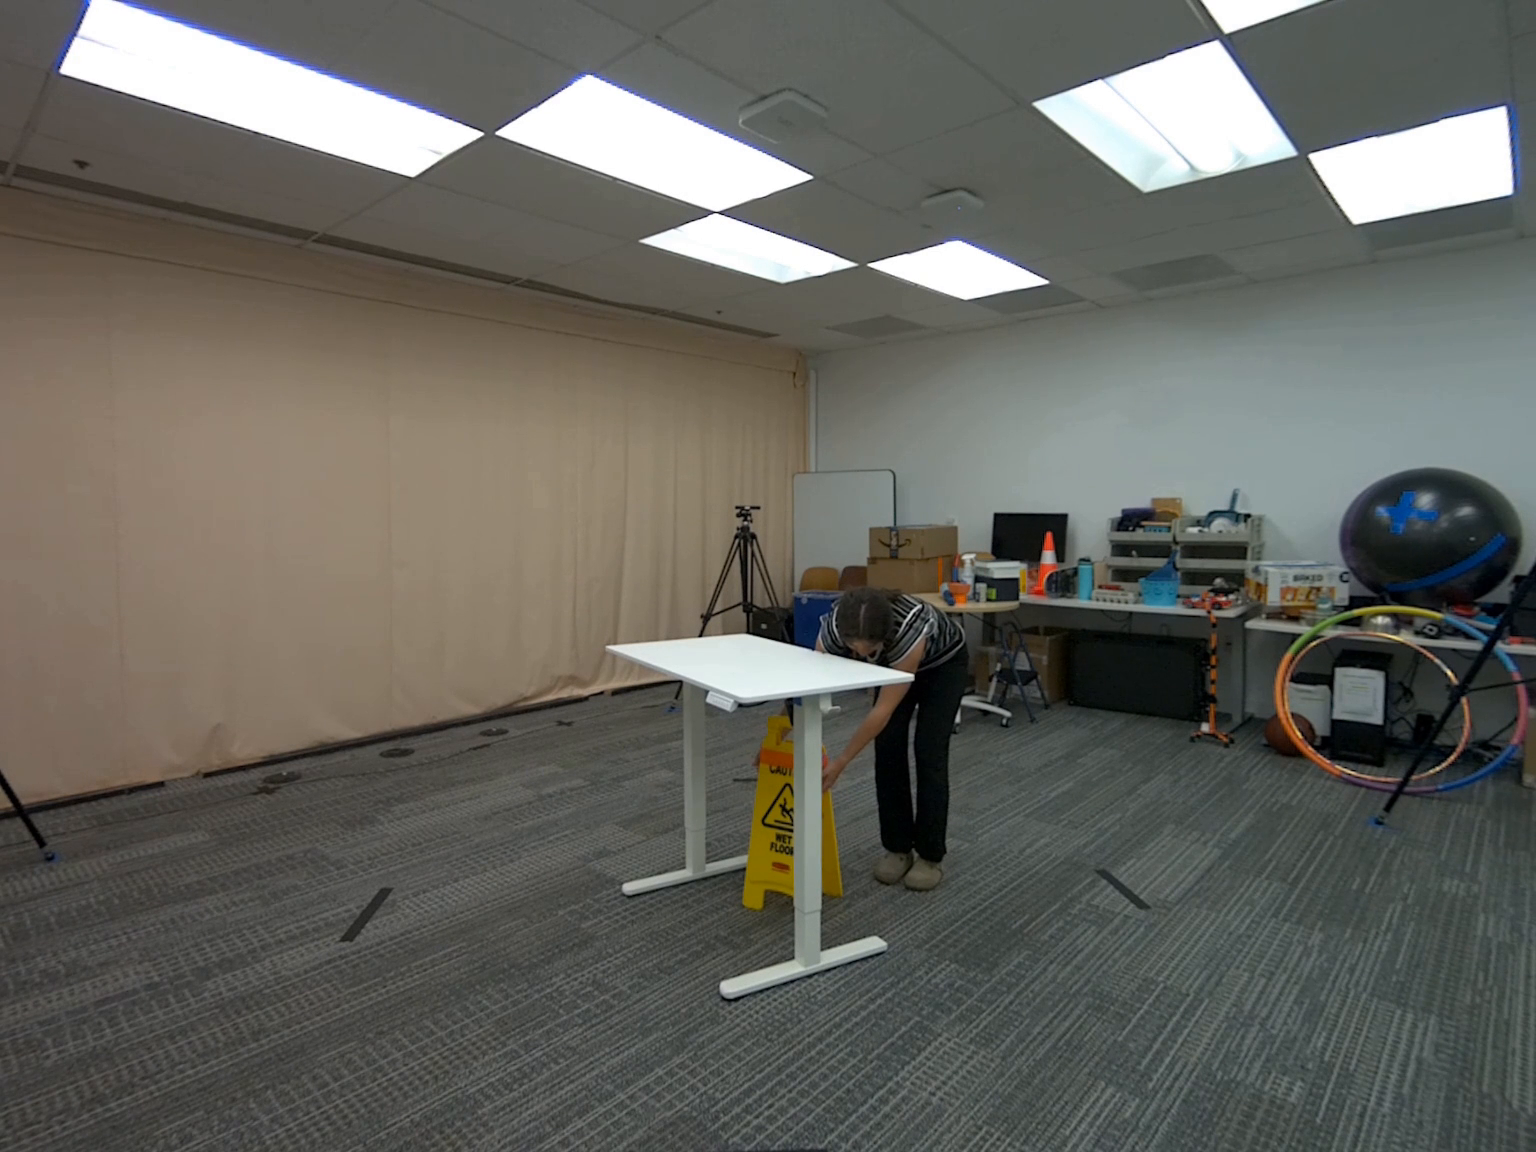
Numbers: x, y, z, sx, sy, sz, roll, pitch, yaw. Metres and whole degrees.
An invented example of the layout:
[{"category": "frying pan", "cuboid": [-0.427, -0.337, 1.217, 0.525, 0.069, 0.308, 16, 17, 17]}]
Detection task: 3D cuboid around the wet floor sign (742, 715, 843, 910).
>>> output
[{"category": "wet floor sign", "cuboid": [0.093, 0.826, 2.948, 0.290, 0.644, 0.282, 2, 4, 30]}]
